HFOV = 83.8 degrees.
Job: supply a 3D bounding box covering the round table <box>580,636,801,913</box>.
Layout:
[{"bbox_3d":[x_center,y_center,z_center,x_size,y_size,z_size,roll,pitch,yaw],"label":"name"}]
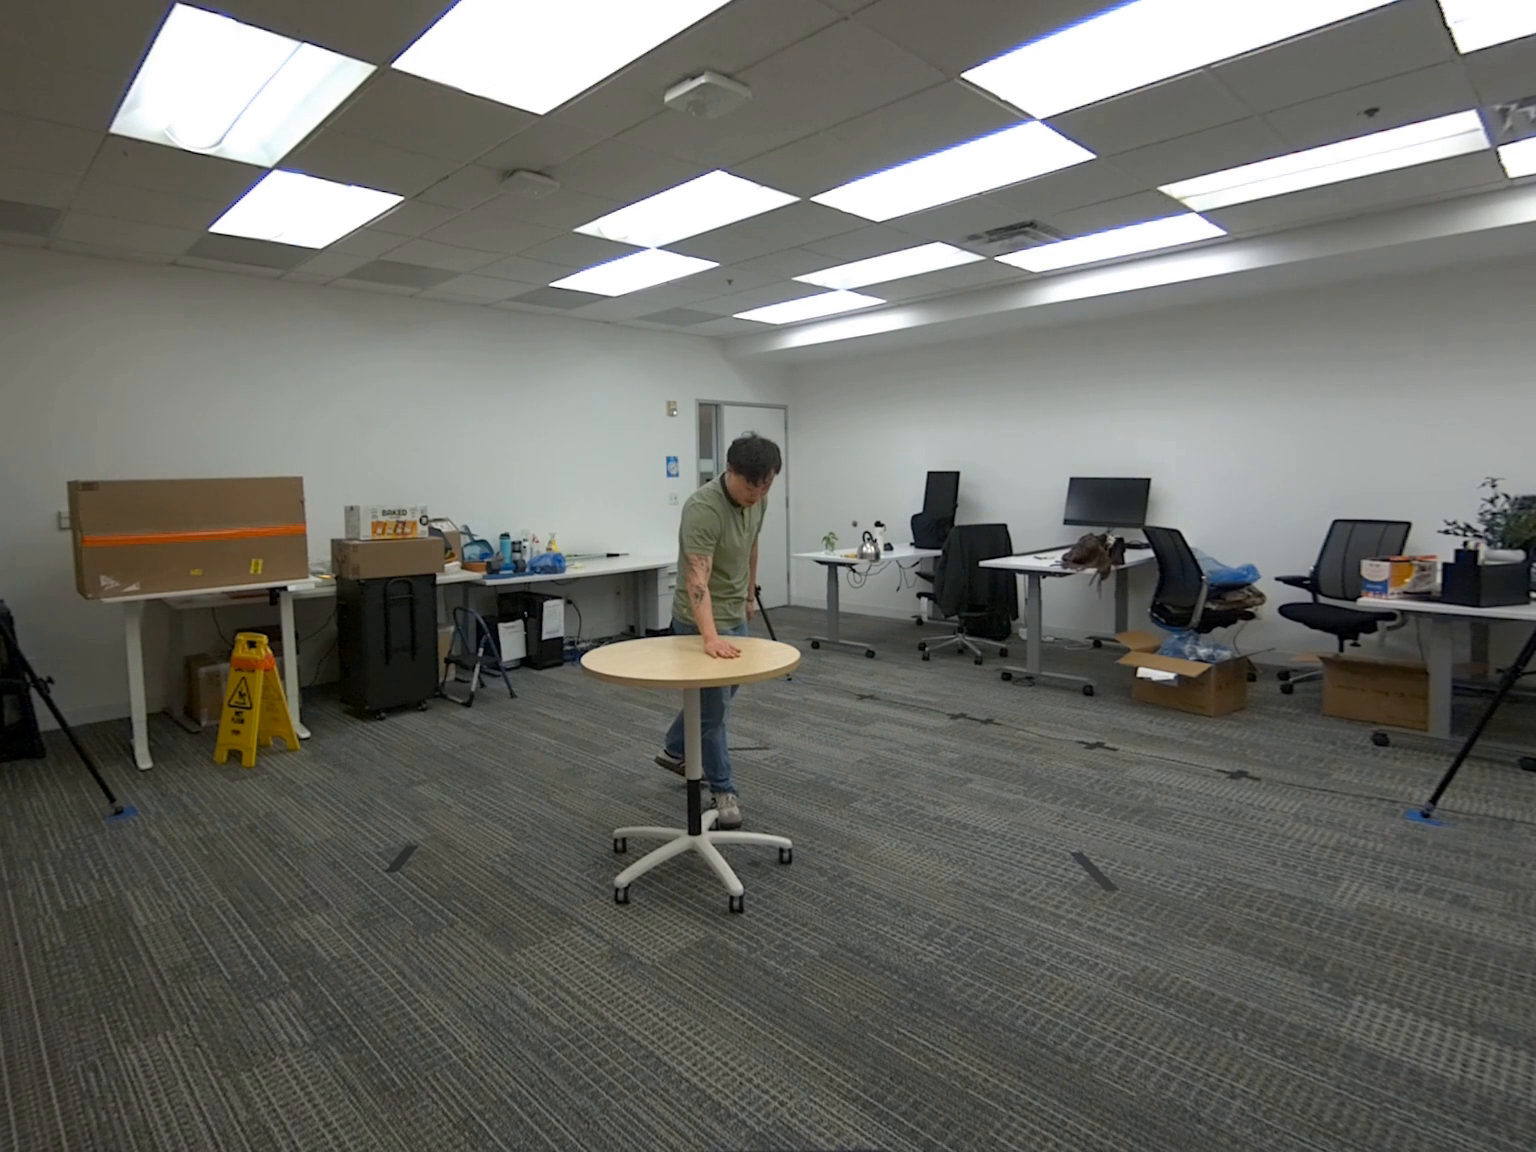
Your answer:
[{"bbox_3d":[-0.265,0.670,3.022,0.763,0.791,0.768,-1,4,-2],"label":"round table"}]
